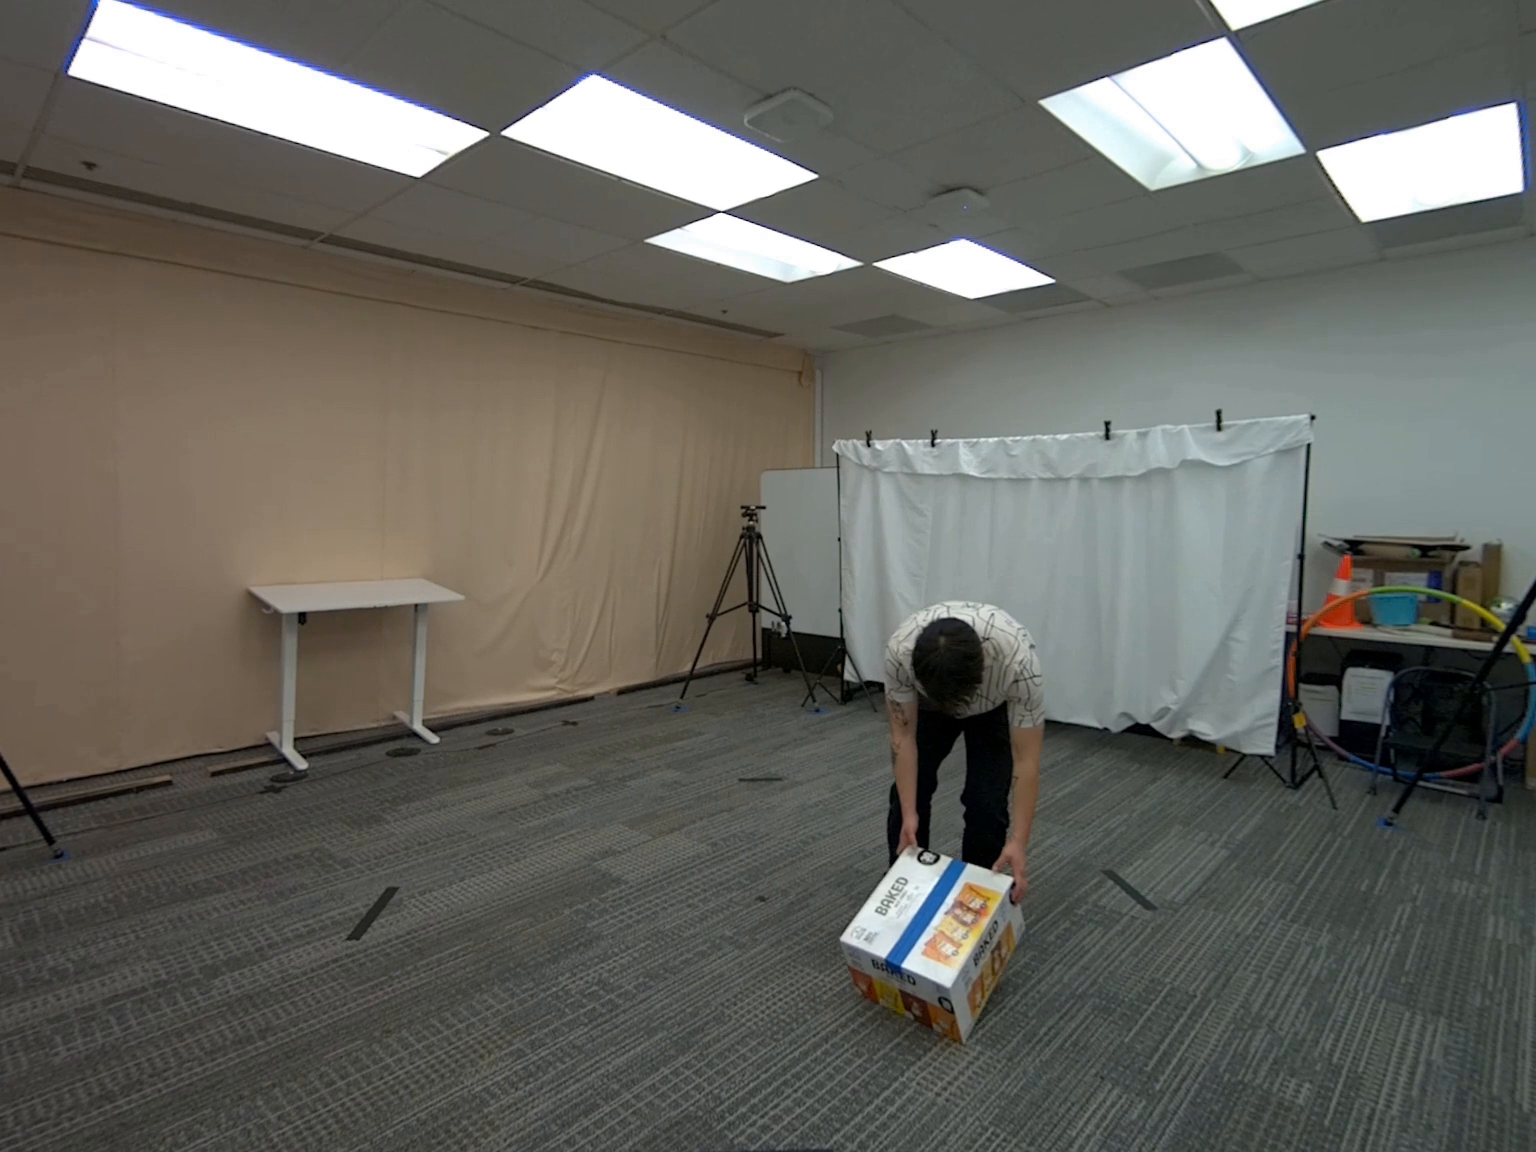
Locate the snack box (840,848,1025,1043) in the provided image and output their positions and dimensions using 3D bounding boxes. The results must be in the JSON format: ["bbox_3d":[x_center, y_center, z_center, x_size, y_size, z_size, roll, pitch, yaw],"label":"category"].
[{"bbox_3d":[0.477,1.021,2.379,0.352,0.202,0.399,4,31,42],"label":"snack box"}]
